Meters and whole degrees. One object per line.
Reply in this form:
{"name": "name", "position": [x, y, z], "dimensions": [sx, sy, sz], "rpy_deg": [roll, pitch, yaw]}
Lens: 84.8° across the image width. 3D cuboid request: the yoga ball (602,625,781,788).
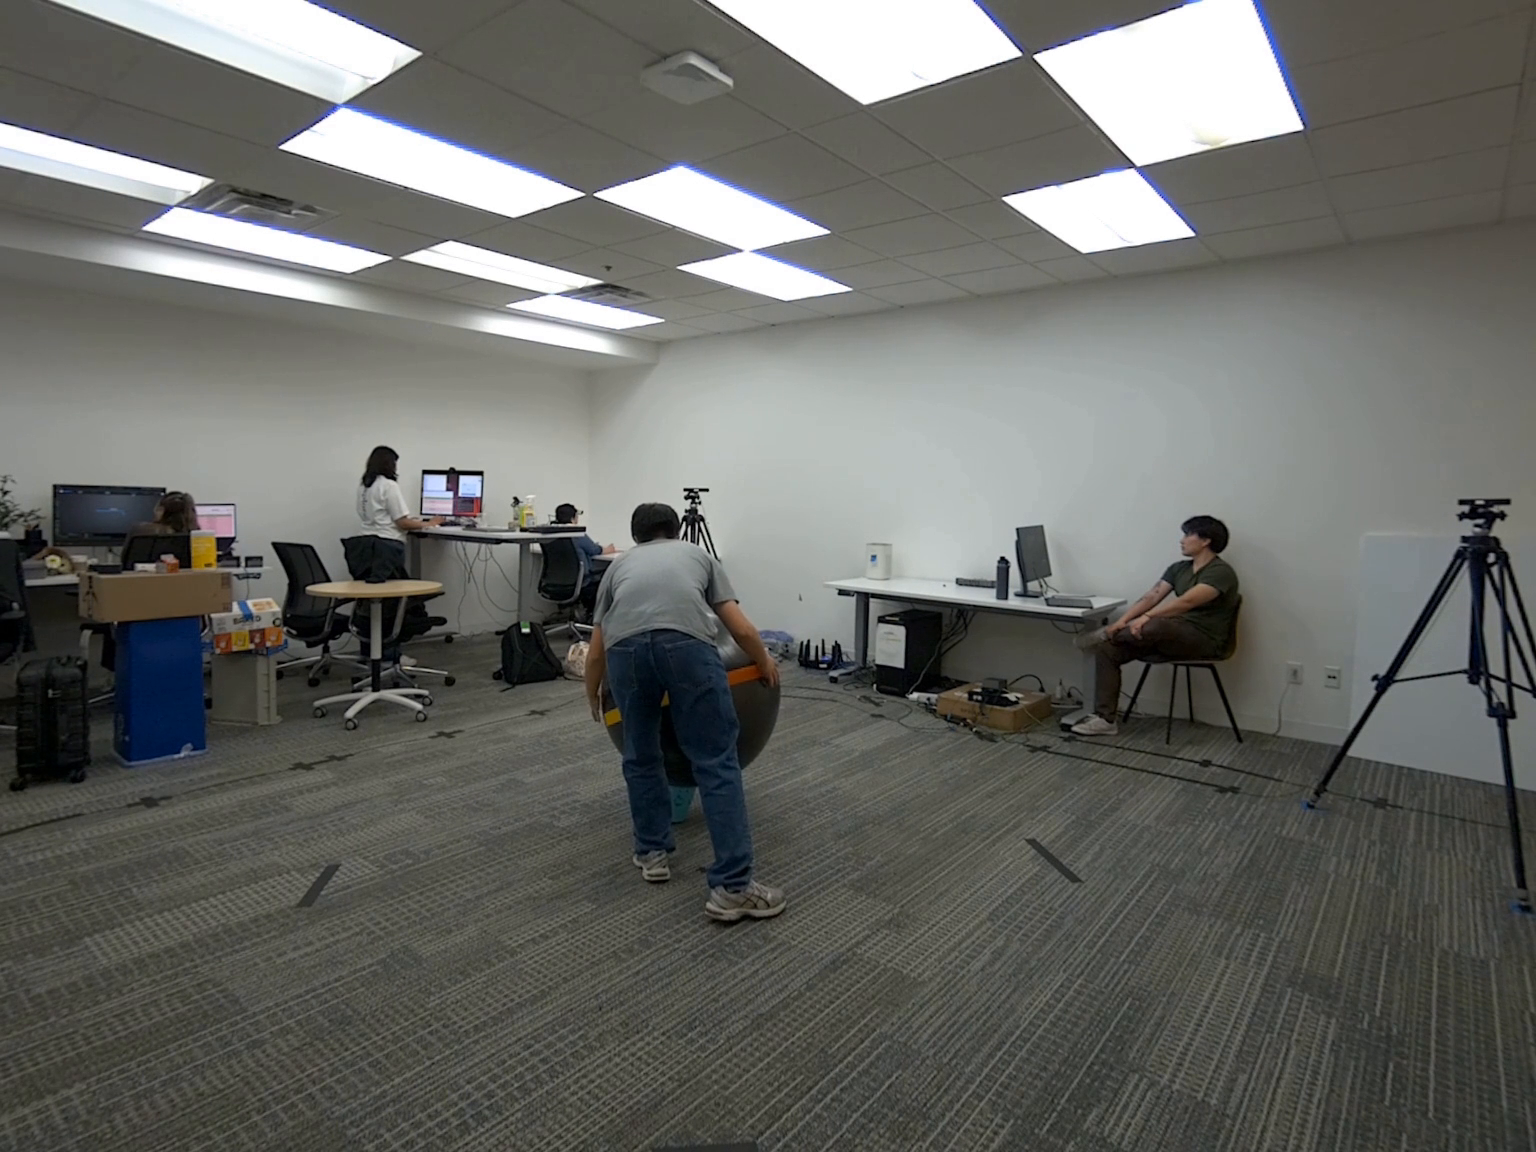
{"name": "yoga ball", "position": [-0.341, 0.506, 3.613], "dimensions": [0.757, 0.756, 0.761], "rpy_deg": [1, 4, -2]}
